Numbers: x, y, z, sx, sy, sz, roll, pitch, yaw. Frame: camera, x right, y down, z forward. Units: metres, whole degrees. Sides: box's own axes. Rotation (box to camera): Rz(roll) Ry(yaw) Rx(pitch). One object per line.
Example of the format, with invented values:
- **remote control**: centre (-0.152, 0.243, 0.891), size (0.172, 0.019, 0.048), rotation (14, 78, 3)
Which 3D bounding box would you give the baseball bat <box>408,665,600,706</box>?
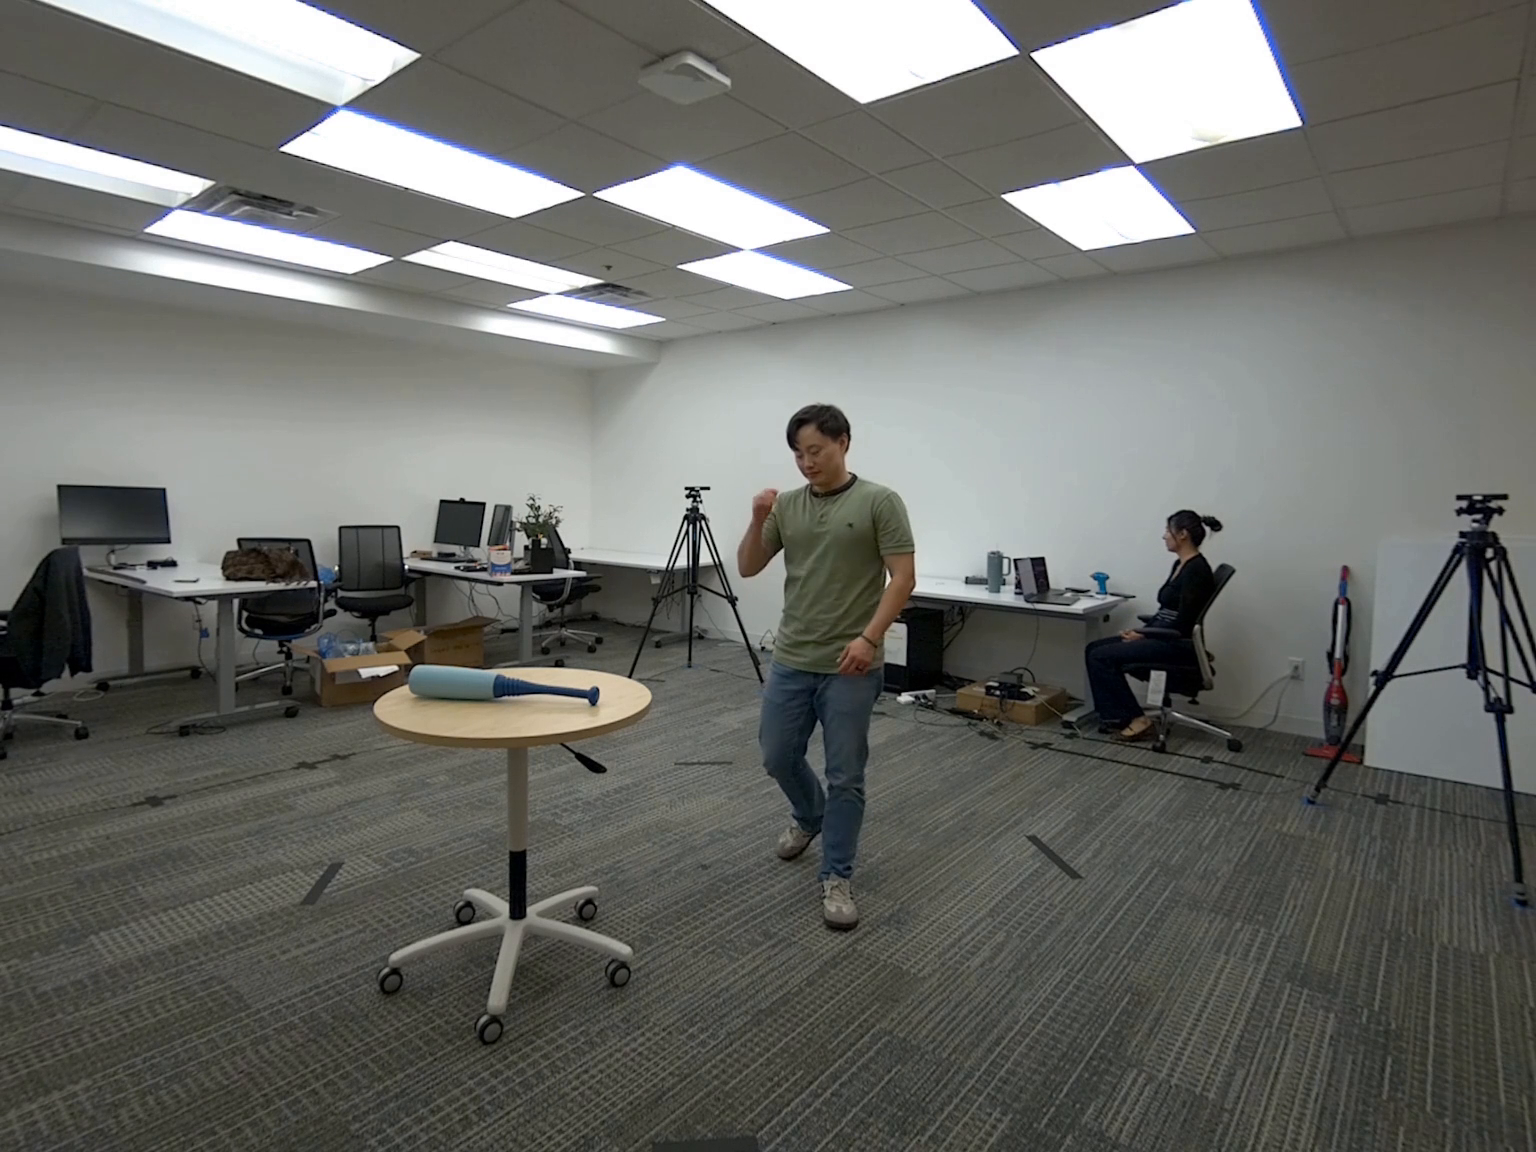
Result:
- **baseball bat**: centre (-0.745, 0.313, 2.389), size (0.547, 0.089, 0.089), rotation (4, 4, 6)
